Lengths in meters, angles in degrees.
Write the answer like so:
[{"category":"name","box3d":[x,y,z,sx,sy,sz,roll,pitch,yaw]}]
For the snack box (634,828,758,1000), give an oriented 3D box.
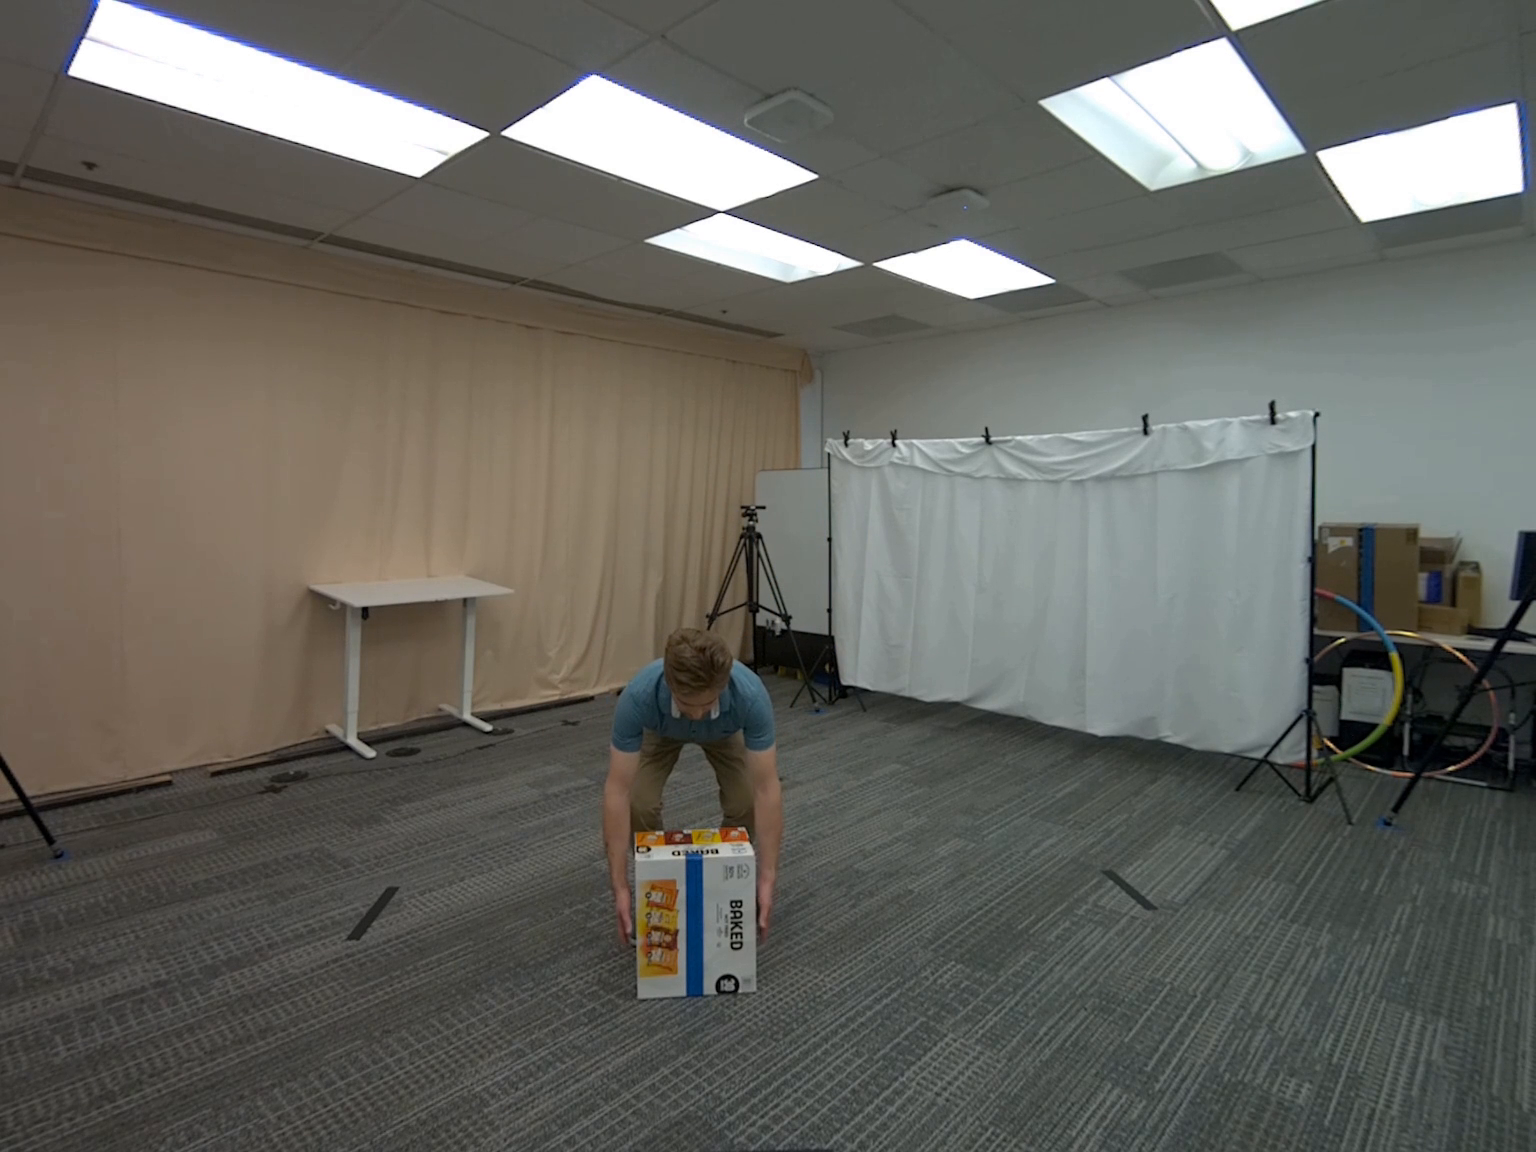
[{"category":"snack box","box3d":[-0.219,0.987,2.478,0.339,0.404,0.207,0,4,-4]}]
